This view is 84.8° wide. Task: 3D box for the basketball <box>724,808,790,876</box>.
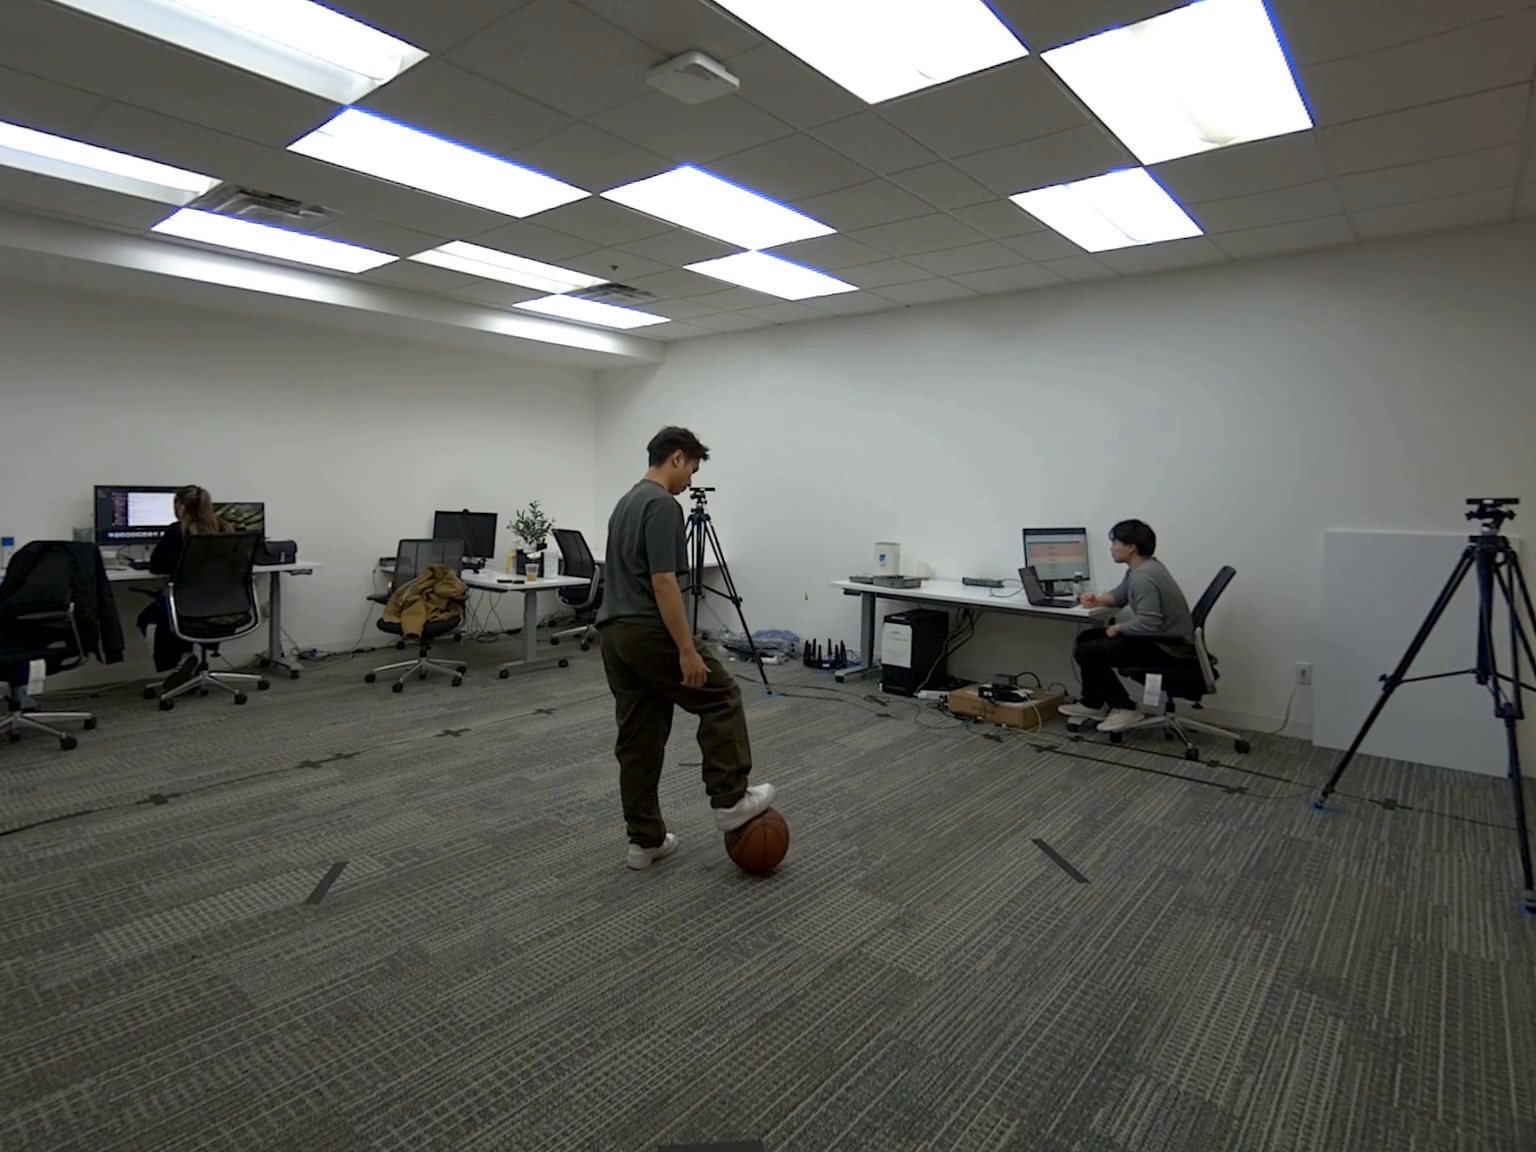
[{"bbox_3d":[-0.047,0.954,3.107,0.235,0.235,0.237,1,4,-2],"label":"basketball"}]
